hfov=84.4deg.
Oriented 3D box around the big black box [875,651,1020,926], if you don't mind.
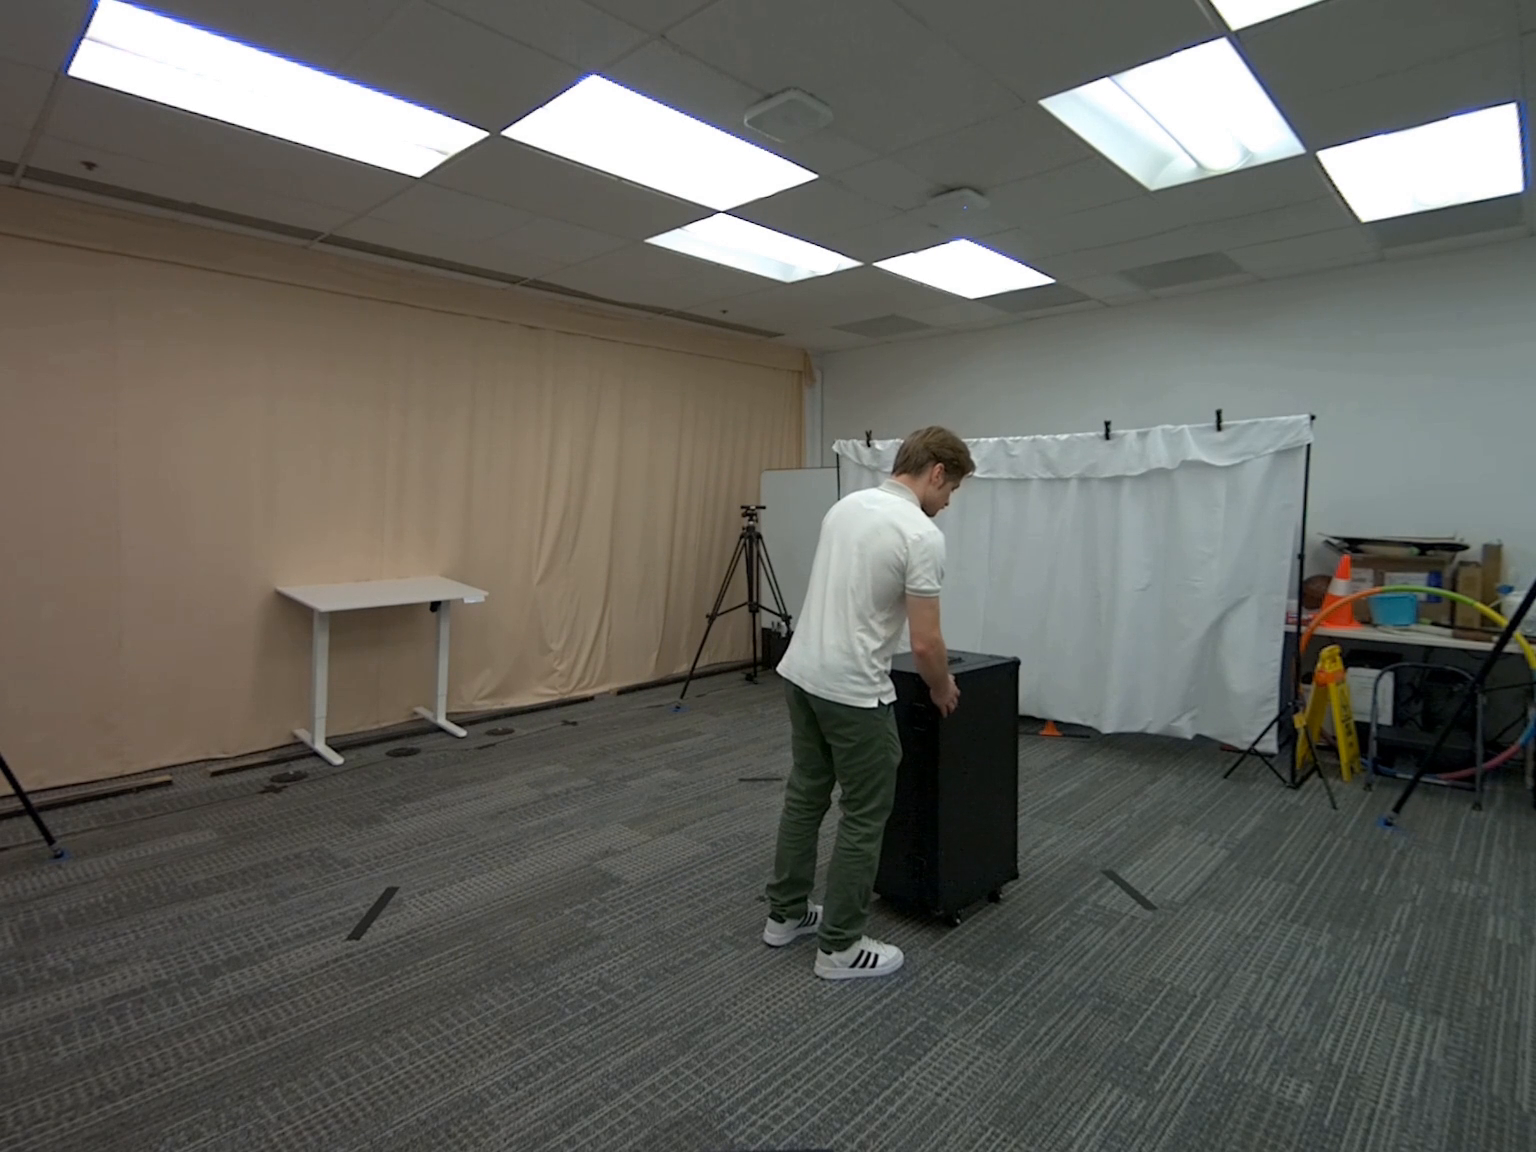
[{"bbox_3d":[0.595,0.722,2.958,0.505,0.860,0.409,-3,3,-42],"label":"big black box"}]
